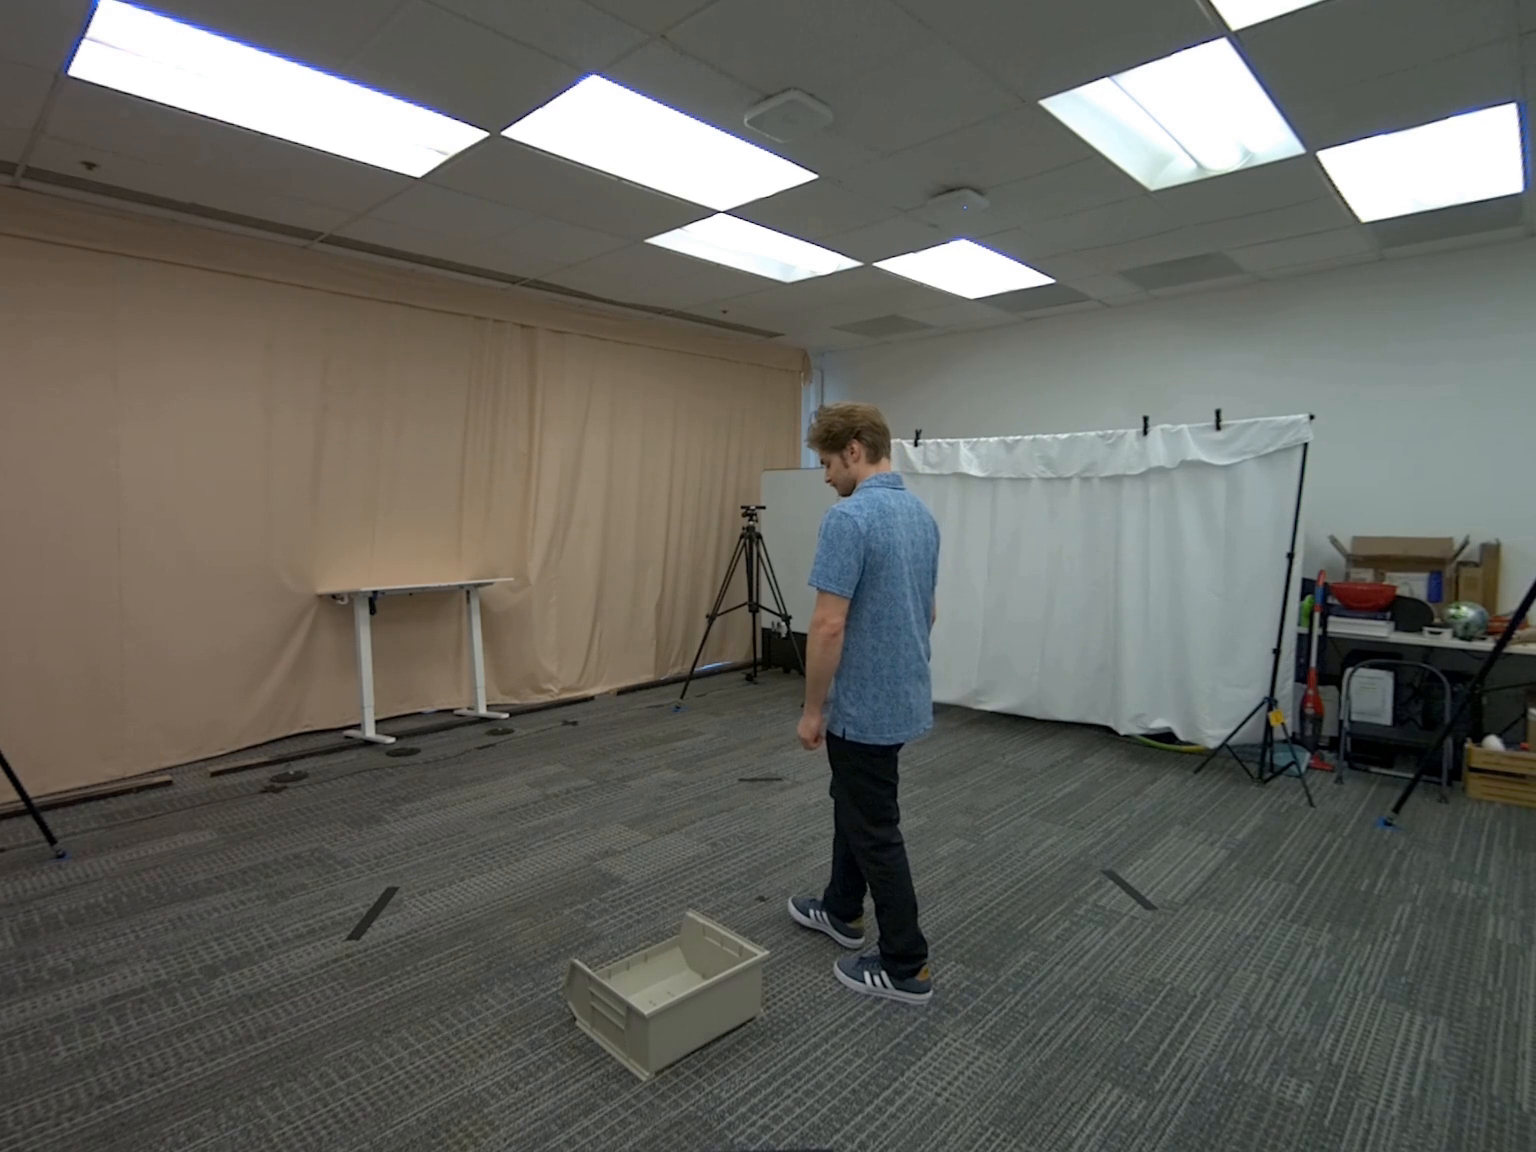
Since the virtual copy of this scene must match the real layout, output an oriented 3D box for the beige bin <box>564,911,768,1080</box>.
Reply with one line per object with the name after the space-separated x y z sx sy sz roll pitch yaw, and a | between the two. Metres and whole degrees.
-0.277 1.117 2.292 0.409 0.188 0.390 -3 6 -44 | beige bin
